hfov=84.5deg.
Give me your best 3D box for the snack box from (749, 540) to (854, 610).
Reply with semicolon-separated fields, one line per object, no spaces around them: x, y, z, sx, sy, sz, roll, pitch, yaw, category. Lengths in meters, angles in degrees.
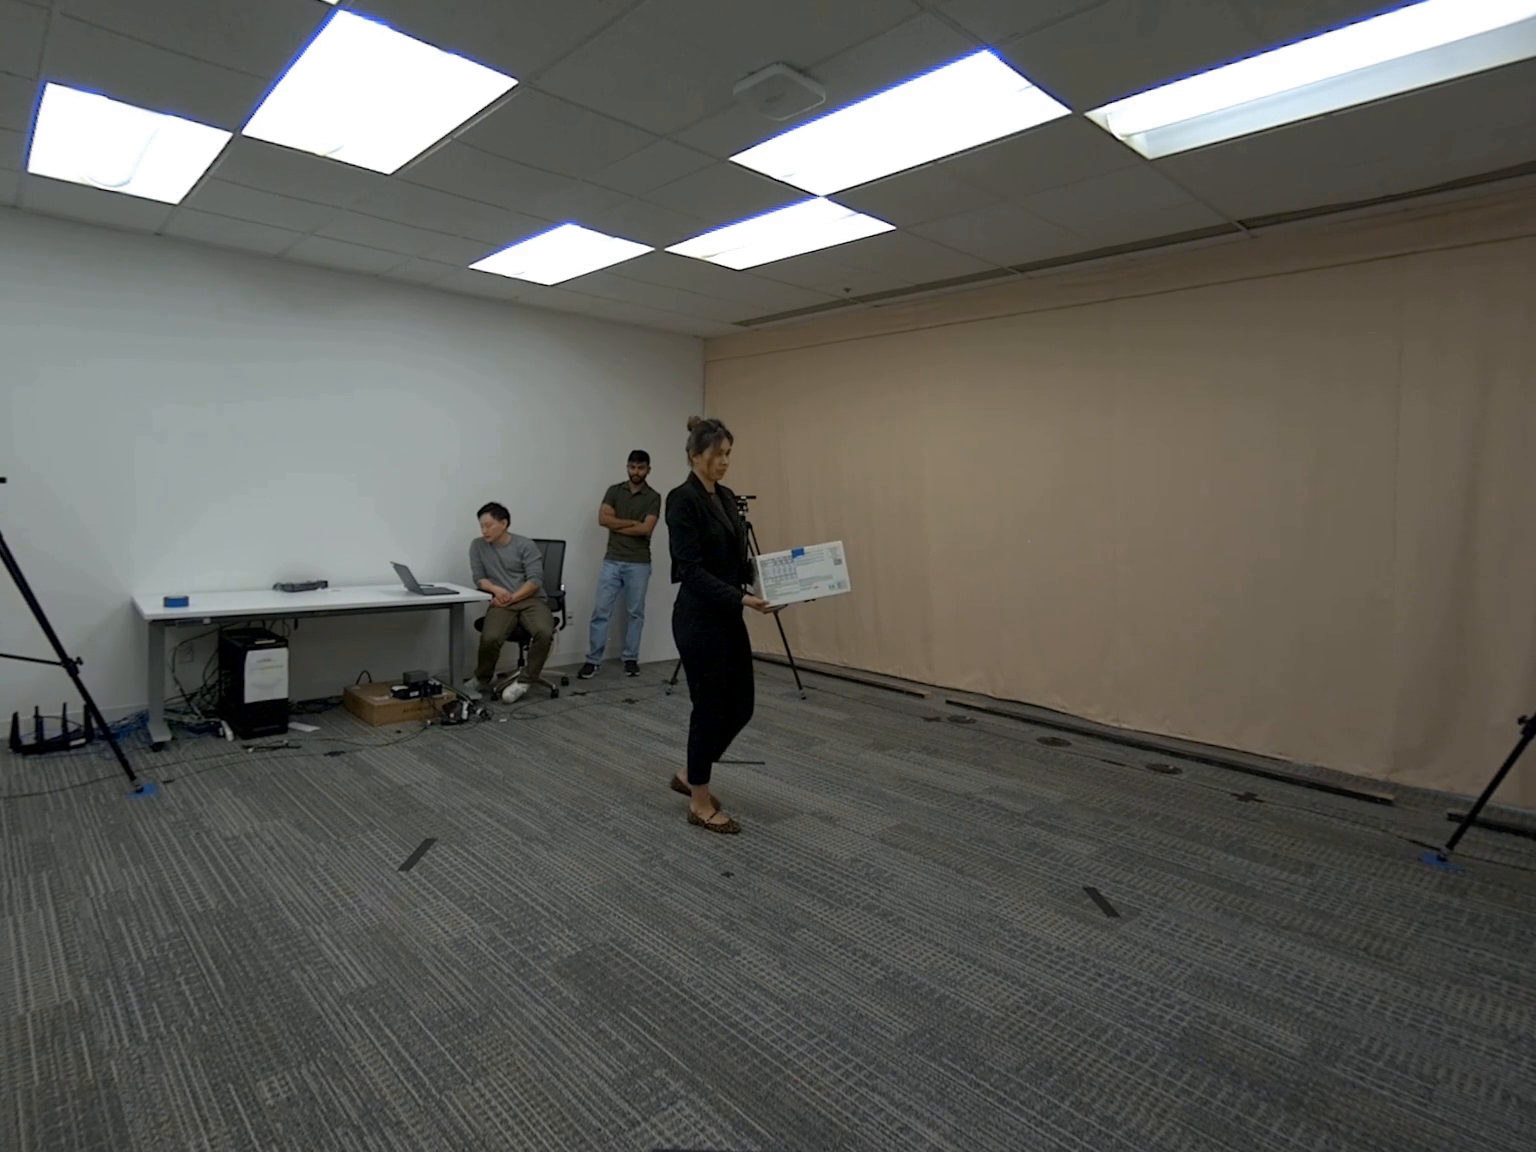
0.116;-0.006;3.417;0.339;0.206;0.406;-11;1;-5;snack box
